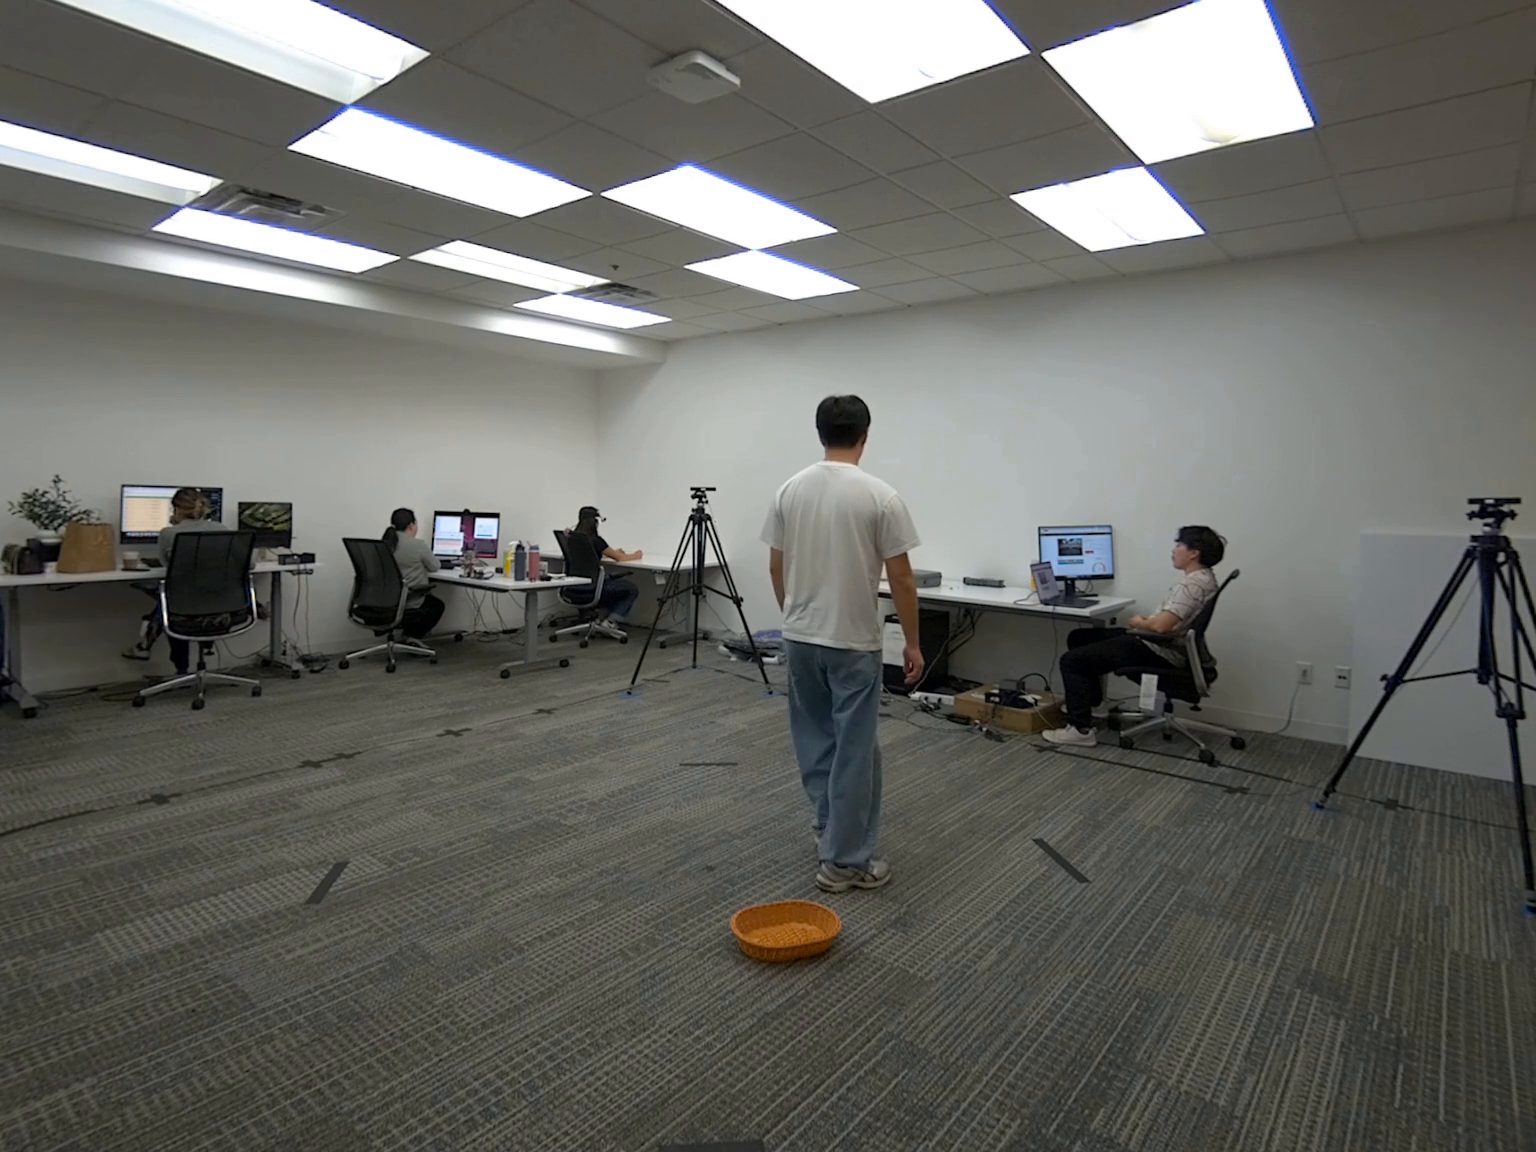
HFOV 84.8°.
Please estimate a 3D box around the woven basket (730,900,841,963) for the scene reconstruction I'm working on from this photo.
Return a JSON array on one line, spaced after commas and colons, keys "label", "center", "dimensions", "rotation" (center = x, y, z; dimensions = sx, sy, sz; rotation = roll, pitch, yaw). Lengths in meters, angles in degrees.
[{"label": "woven basket", "center": [0.047, 1.081, 2.595], "dimensions": [0.343, 0.073, 0.258], "rotation": [-1, 6, -21]}]
